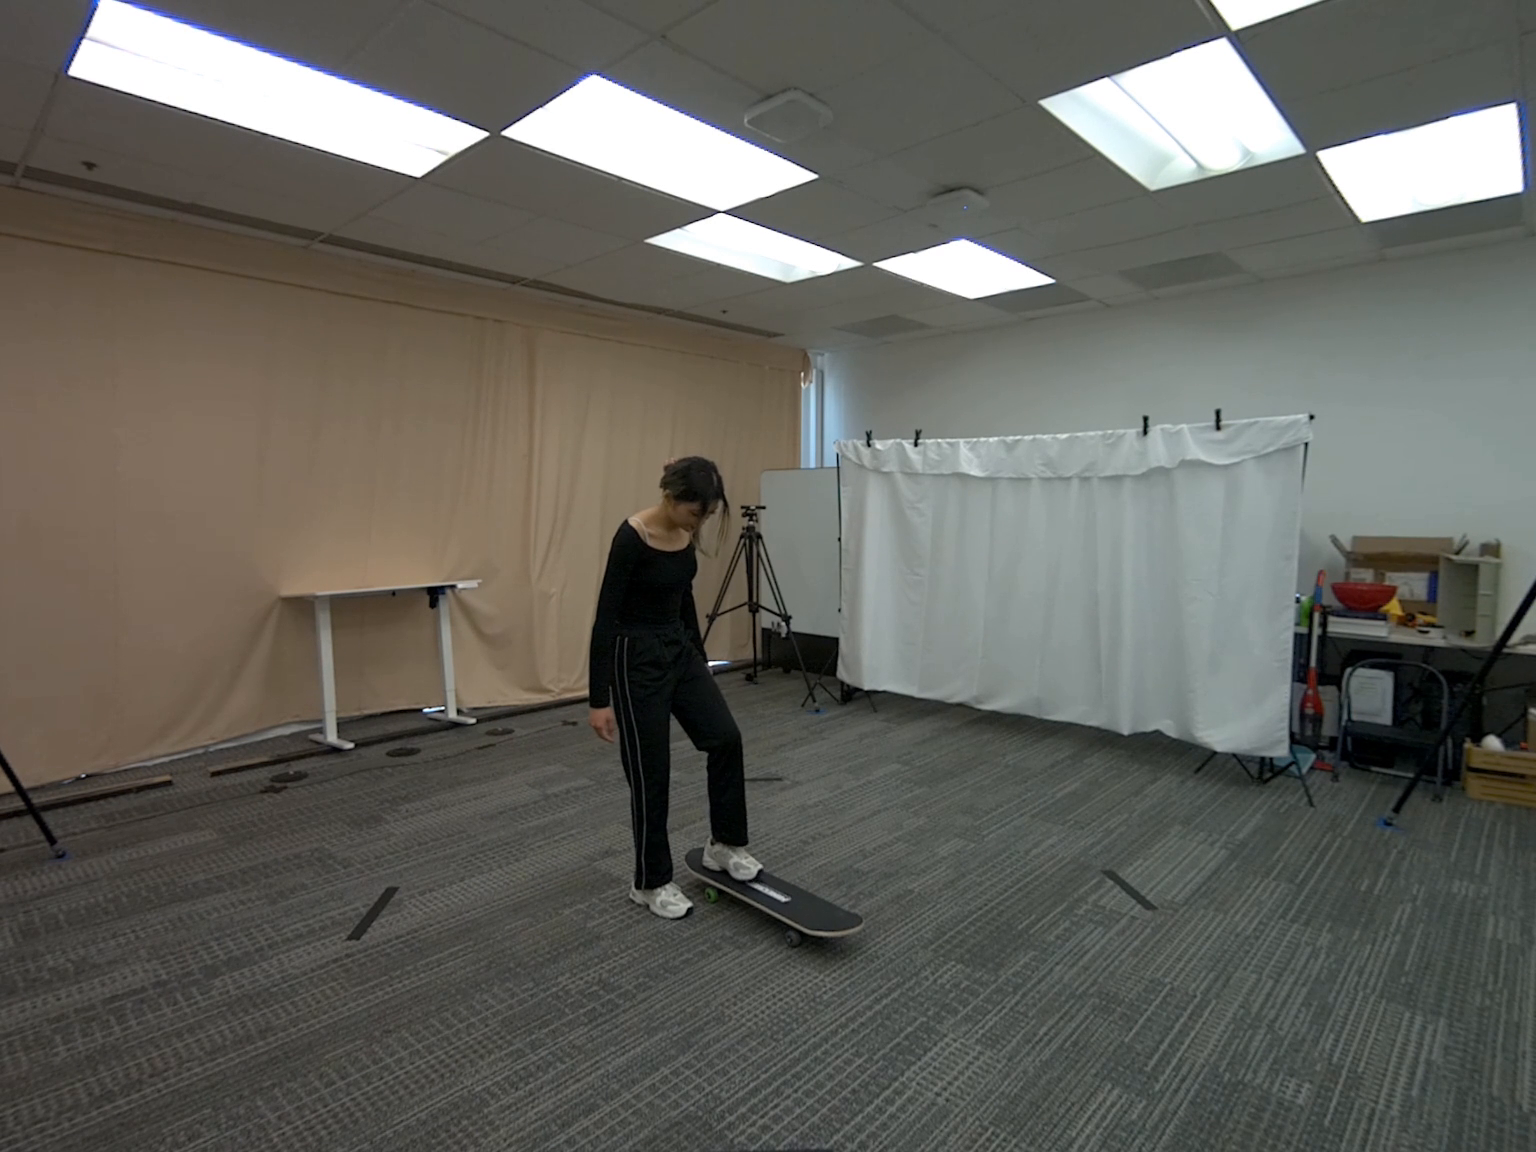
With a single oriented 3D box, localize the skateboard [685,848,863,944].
[{"bbox_3d":[0.001,1.102,2.859,0.187,0.110,0.812,-4,6,-43],"label":"skateboard"}]
